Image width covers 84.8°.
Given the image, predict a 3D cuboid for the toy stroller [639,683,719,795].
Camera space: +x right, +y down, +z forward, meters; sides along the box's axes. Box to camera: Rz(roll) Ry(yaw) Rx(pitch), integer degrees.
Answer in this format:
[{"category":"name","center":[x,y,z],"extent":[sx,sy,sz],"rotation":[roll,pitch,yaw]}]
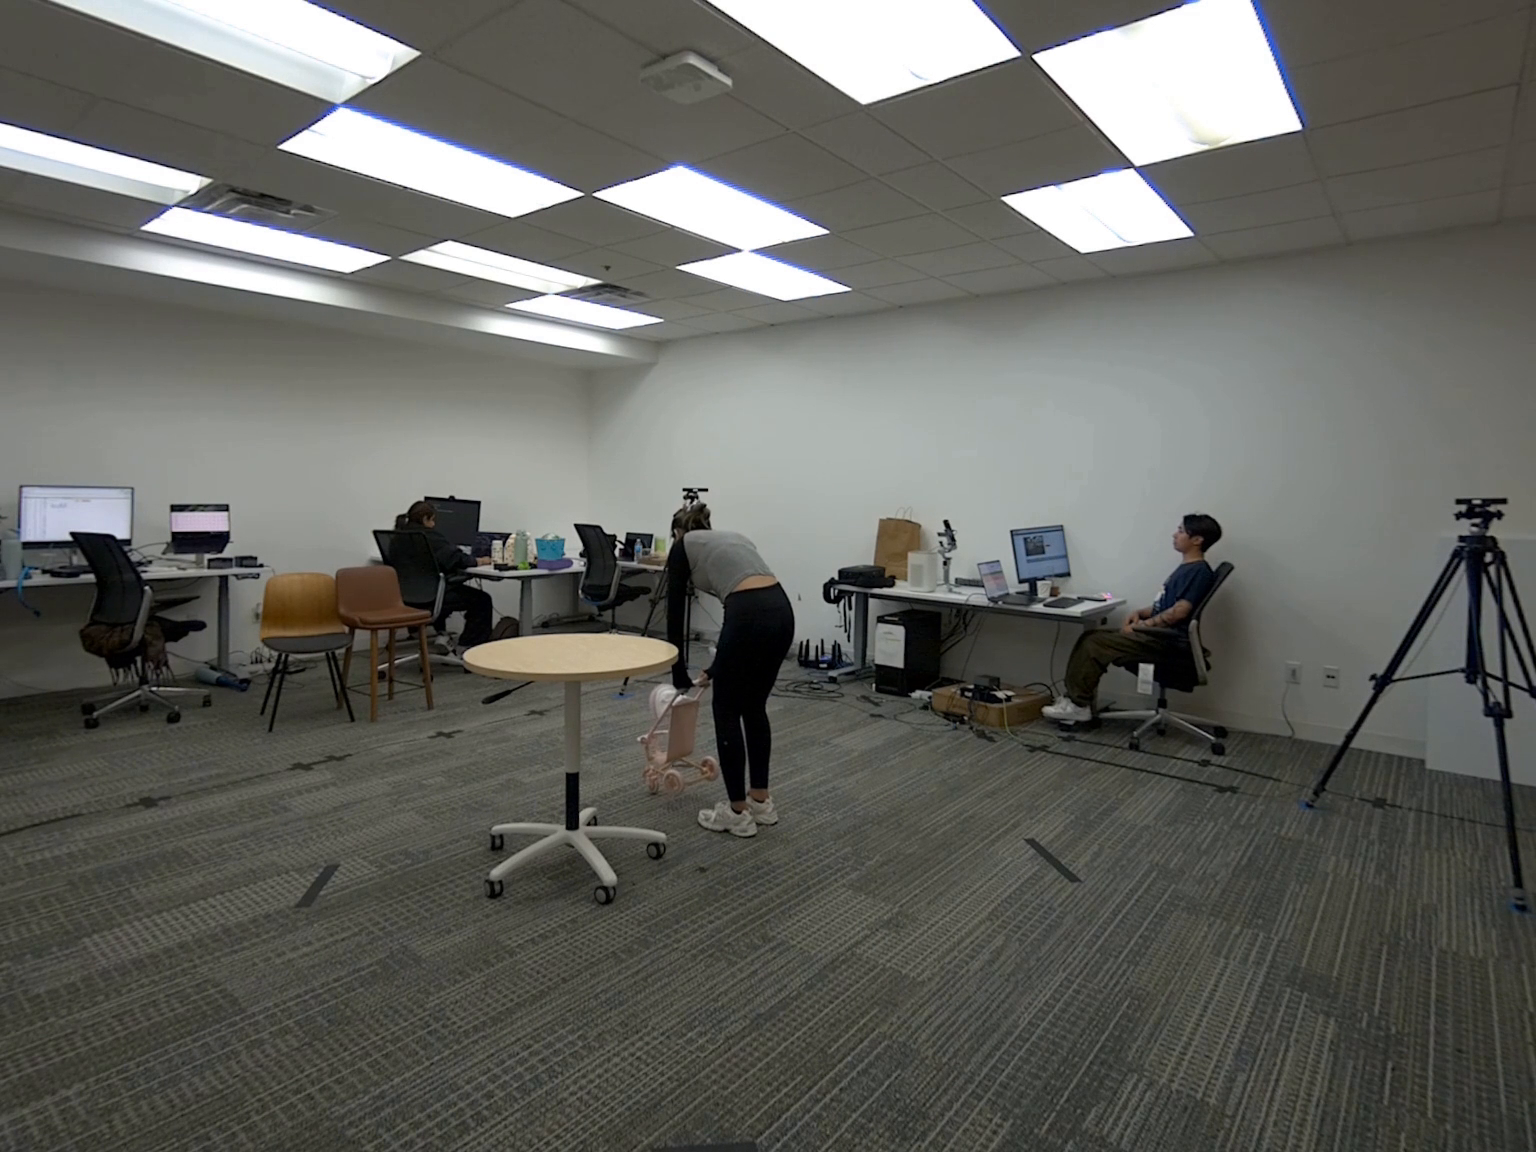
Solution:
[{"category":"toy stroller","center":[-0.442,0.720,3.812],"extent":[0.352,0.534,0.273],"rotation":[-1,2,41]}]
